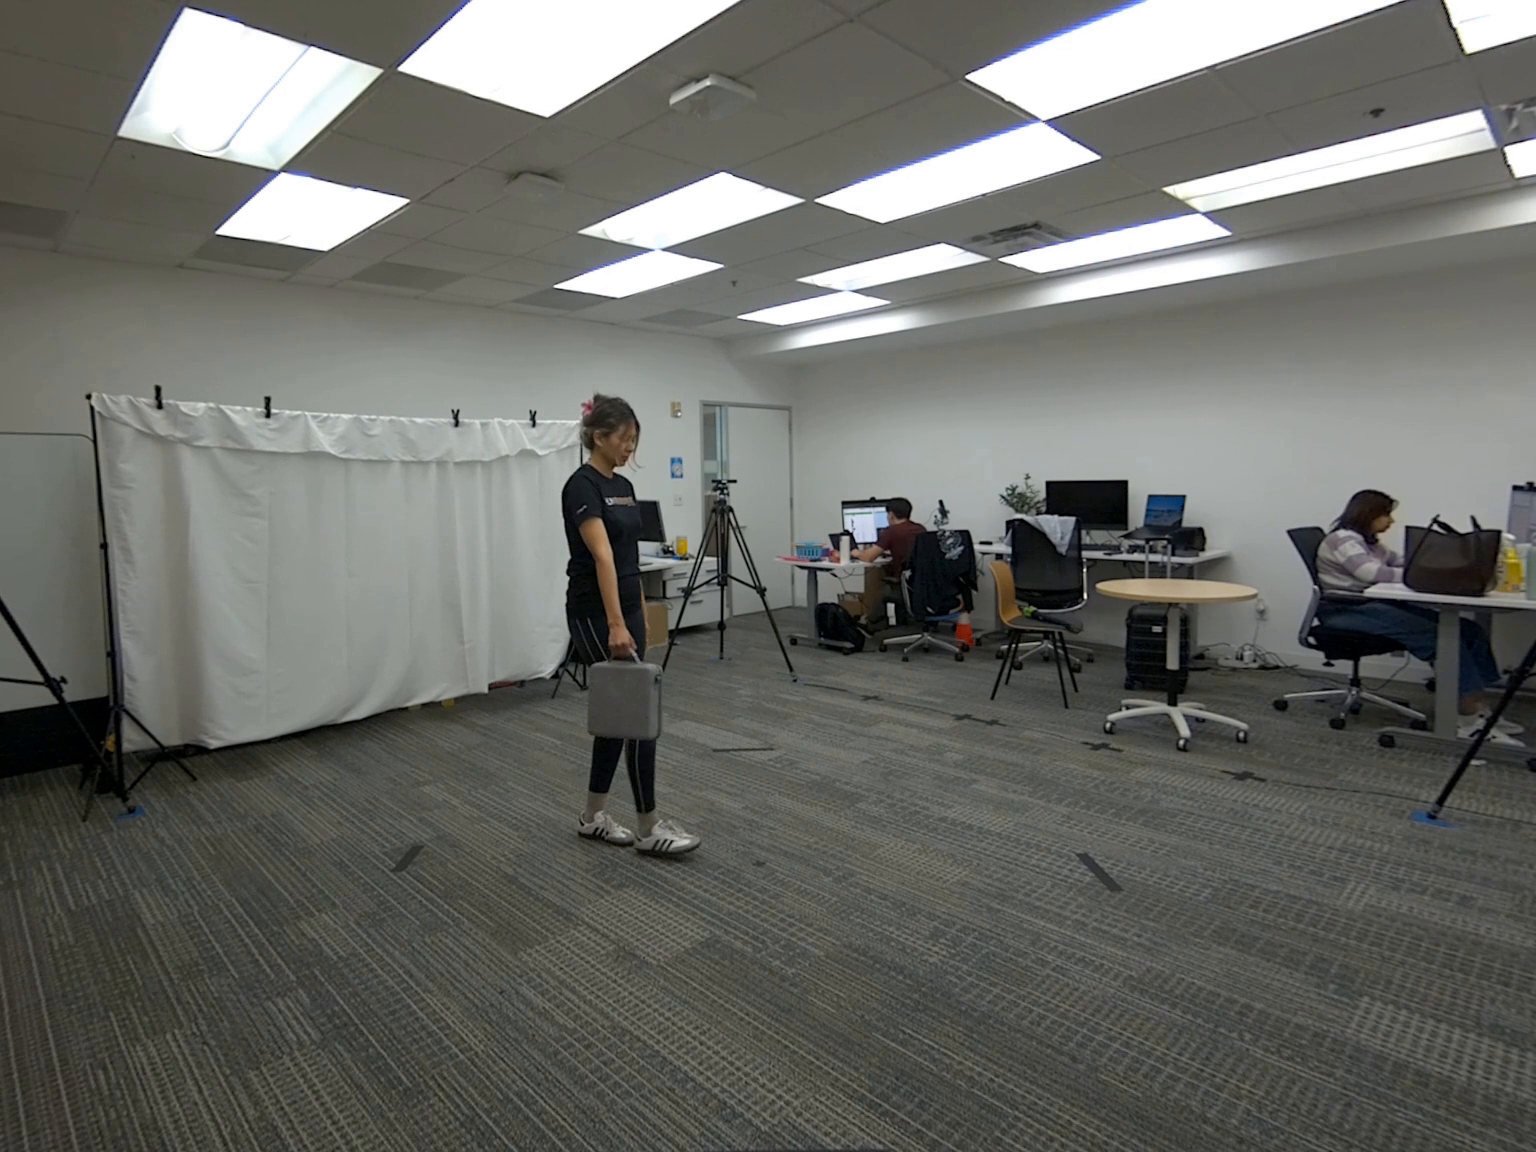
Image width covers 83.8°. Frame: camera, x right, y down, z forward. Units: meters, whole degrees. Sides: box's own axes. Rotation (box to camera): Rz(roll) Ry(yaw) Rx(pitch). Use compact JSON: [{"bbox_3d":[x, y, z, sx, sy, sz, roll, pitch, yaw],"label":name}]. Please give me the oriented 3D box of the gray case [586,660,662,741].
[{"bbox_3d":[-0.479,0.417,2.923,0.262,0.262,0.101,-2,-6,25],"label":"gray case"}]
